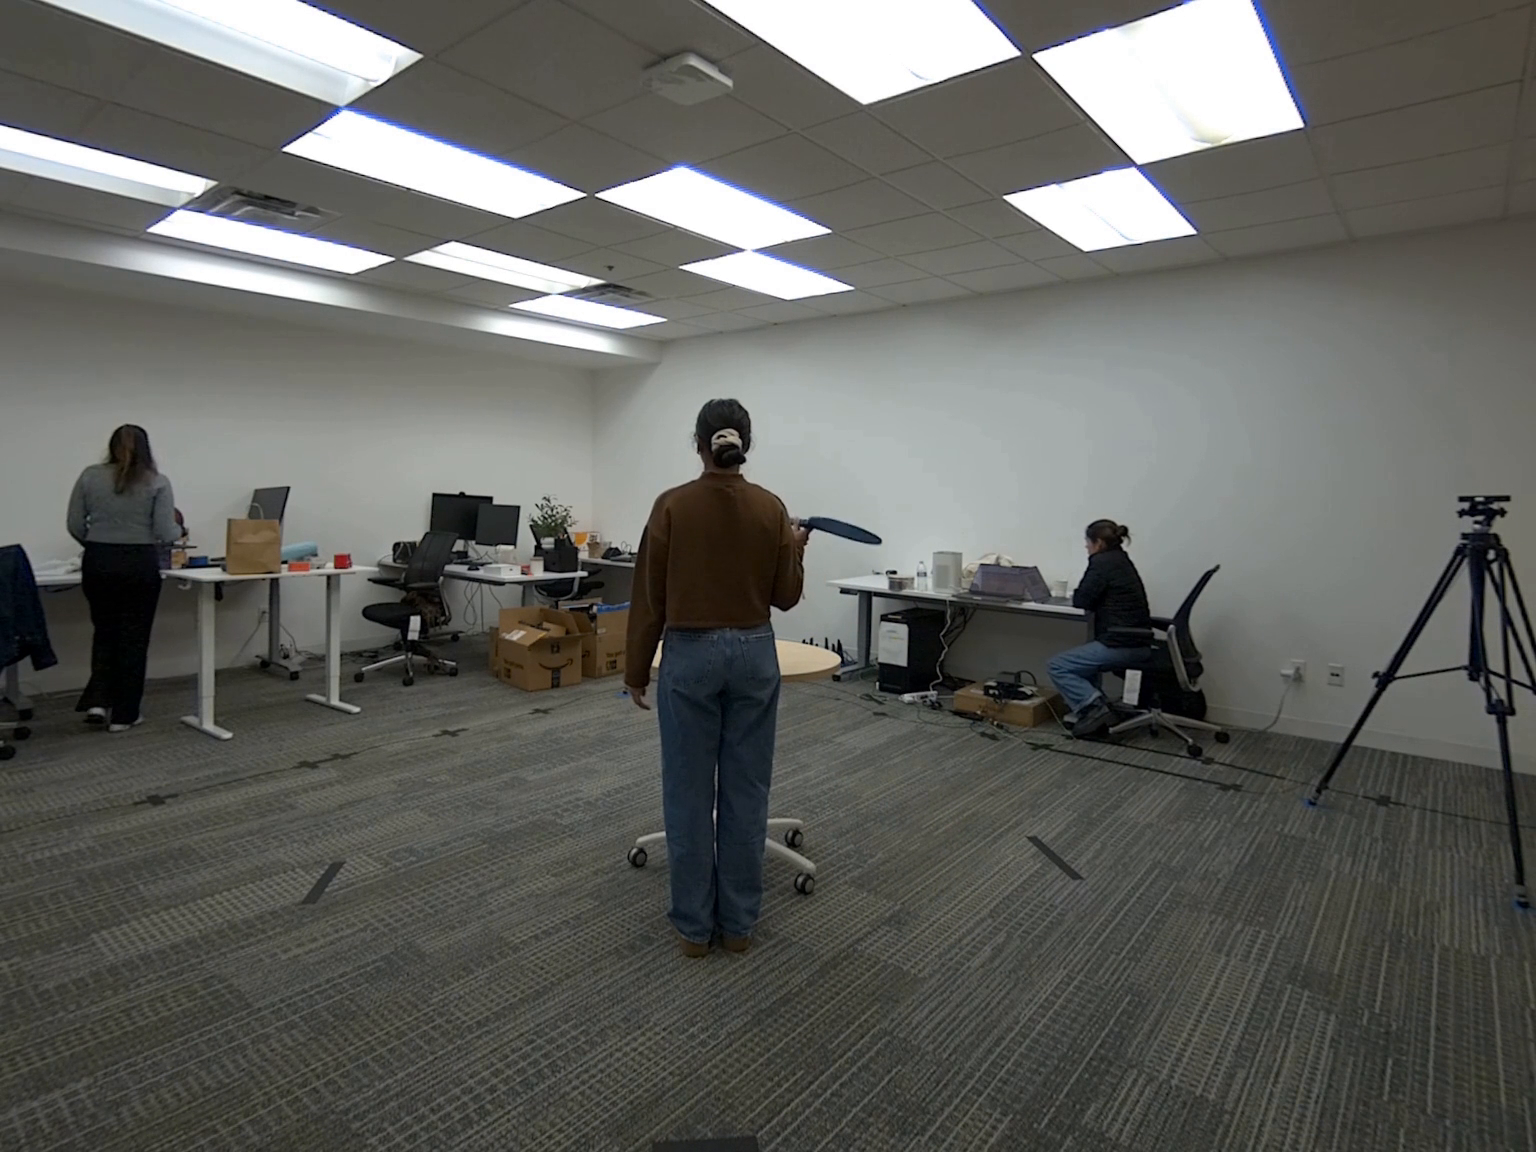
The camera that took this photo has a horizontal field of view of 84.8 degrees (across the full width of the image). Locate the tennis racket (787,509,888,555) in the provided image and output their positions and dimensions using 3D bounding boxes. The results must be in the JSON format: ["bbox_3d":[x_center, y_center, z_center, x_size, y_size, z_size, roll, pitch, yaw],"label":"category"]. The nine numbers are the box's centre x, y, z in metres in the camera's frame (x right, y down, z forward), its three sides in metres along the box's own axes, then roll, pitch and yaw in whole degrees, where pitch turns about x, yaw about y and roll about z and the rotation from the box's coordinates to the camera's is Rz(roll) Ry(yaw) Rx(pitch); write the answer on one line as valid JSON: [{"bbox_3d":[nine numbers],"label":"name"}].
[{"bbox_3d":[0.164,-0.160,2.779,0.205,0.032,0.449,27,-7,-37],"label":"tennis racket"}]
